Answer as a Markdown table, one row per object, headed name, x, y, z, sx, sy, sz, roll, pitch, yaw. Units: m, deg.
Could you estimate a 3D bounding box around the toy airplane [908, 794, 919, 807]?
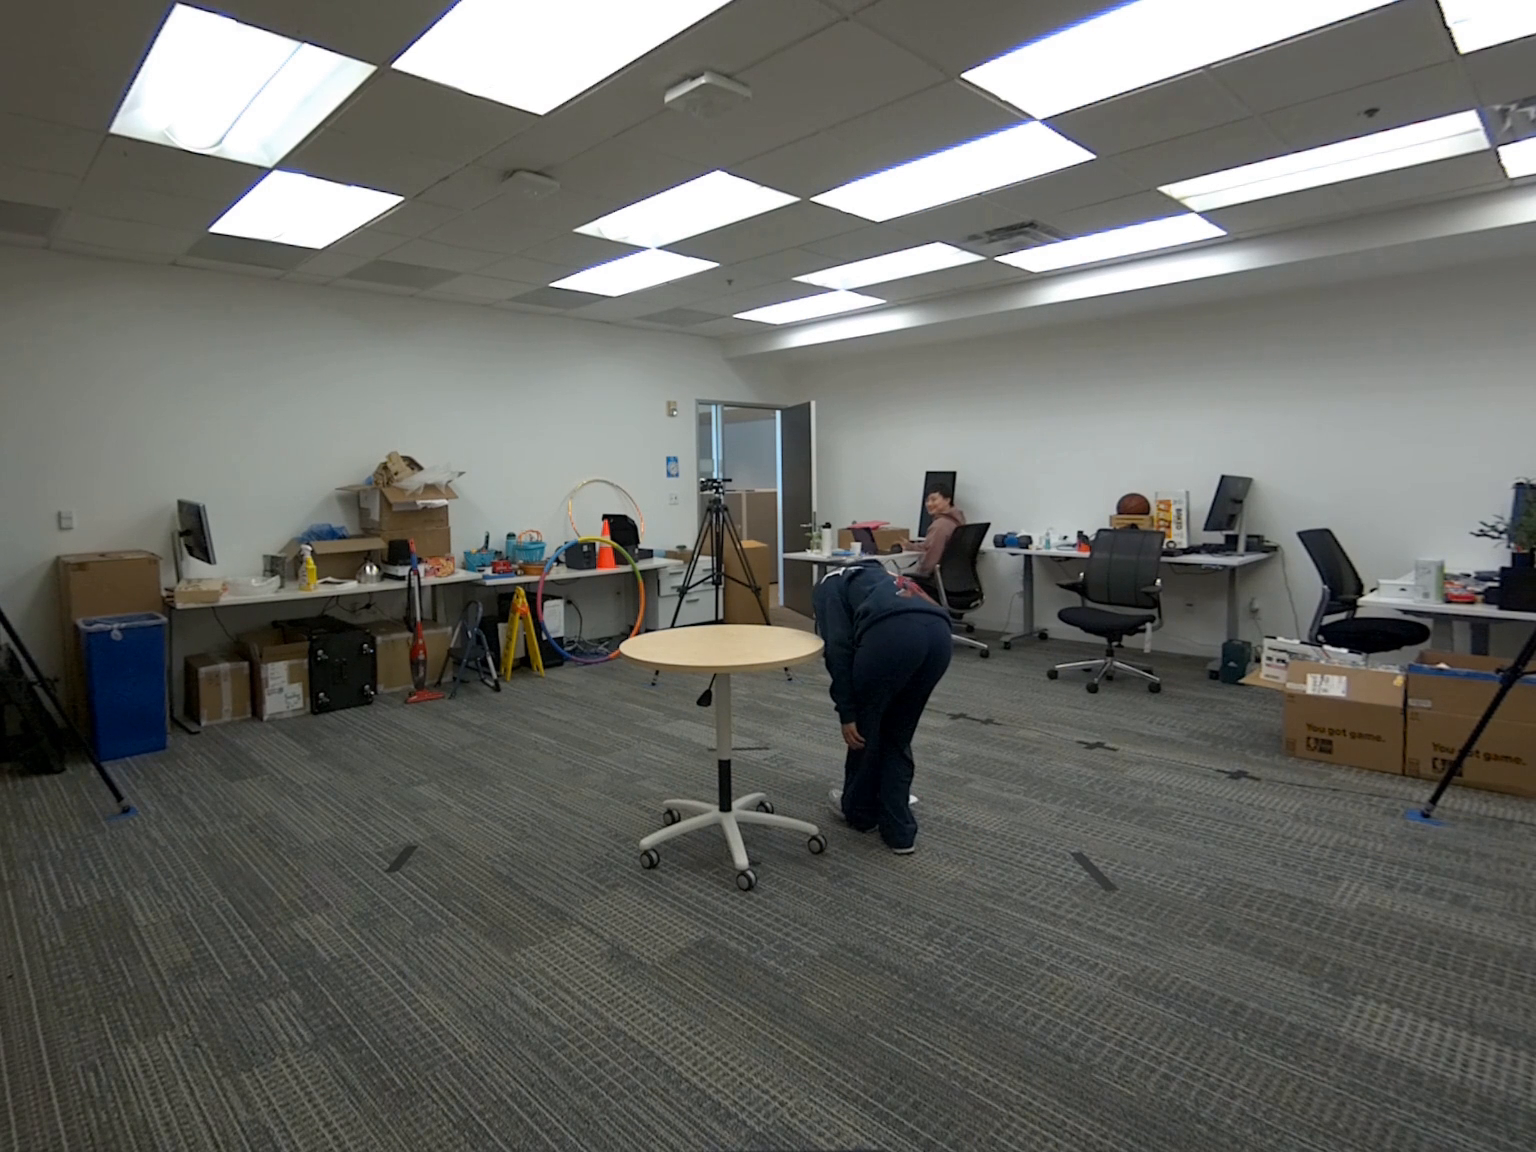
| name | x | y | z | sx | sy | sz | roll | pitch | yaw |
| --- | --- | --- | --- | --- | --- | --- | --- | --- | --- |
| toy airplane | 0.529 | 0.904 | 3.628 | 0.266 | 0.156 | 0.245 | 1 | 5 | 32 |
